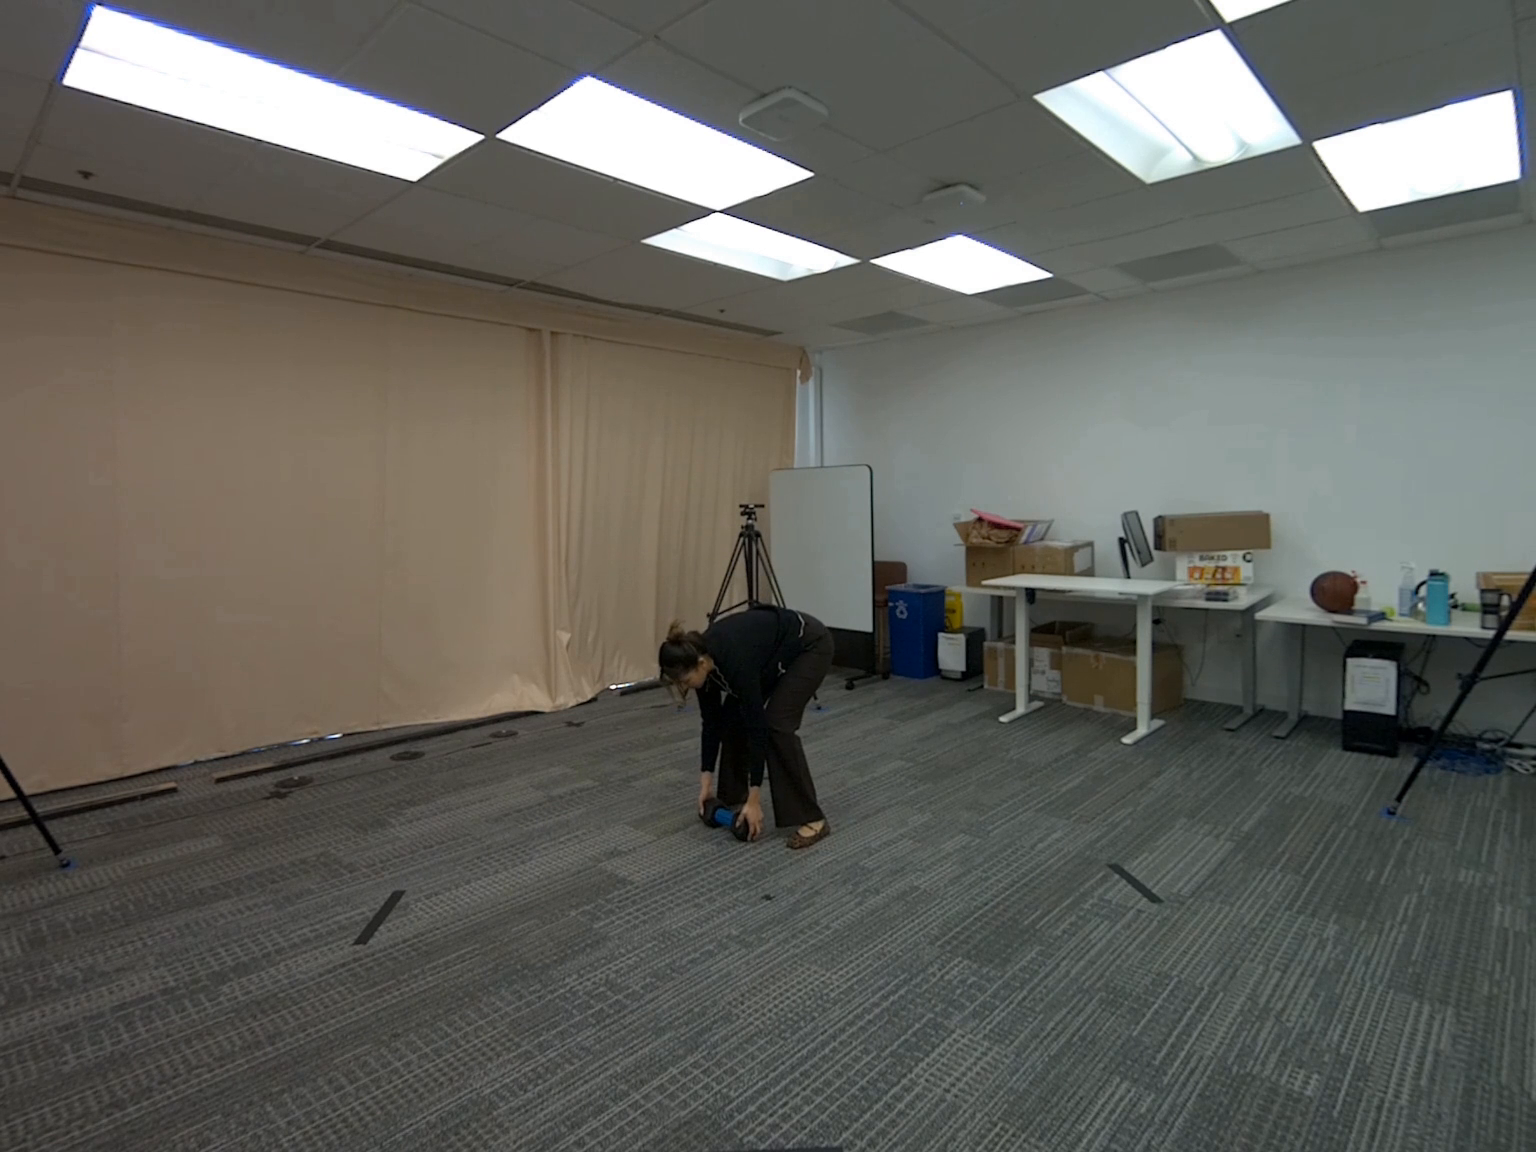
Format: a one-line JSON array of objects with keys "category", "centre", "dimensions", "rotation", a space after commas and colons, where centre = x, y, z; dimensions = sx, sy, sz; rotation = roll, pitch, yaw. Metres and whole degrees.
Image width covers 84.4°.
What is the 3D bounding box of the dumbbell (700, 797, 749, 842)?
[{"category": "dumbbell", "centre": [-0.161, 1.036, 3.607], "dimensions": [0.105, 0.123, 0.303], "rotation": [26, -15, -37]}]
